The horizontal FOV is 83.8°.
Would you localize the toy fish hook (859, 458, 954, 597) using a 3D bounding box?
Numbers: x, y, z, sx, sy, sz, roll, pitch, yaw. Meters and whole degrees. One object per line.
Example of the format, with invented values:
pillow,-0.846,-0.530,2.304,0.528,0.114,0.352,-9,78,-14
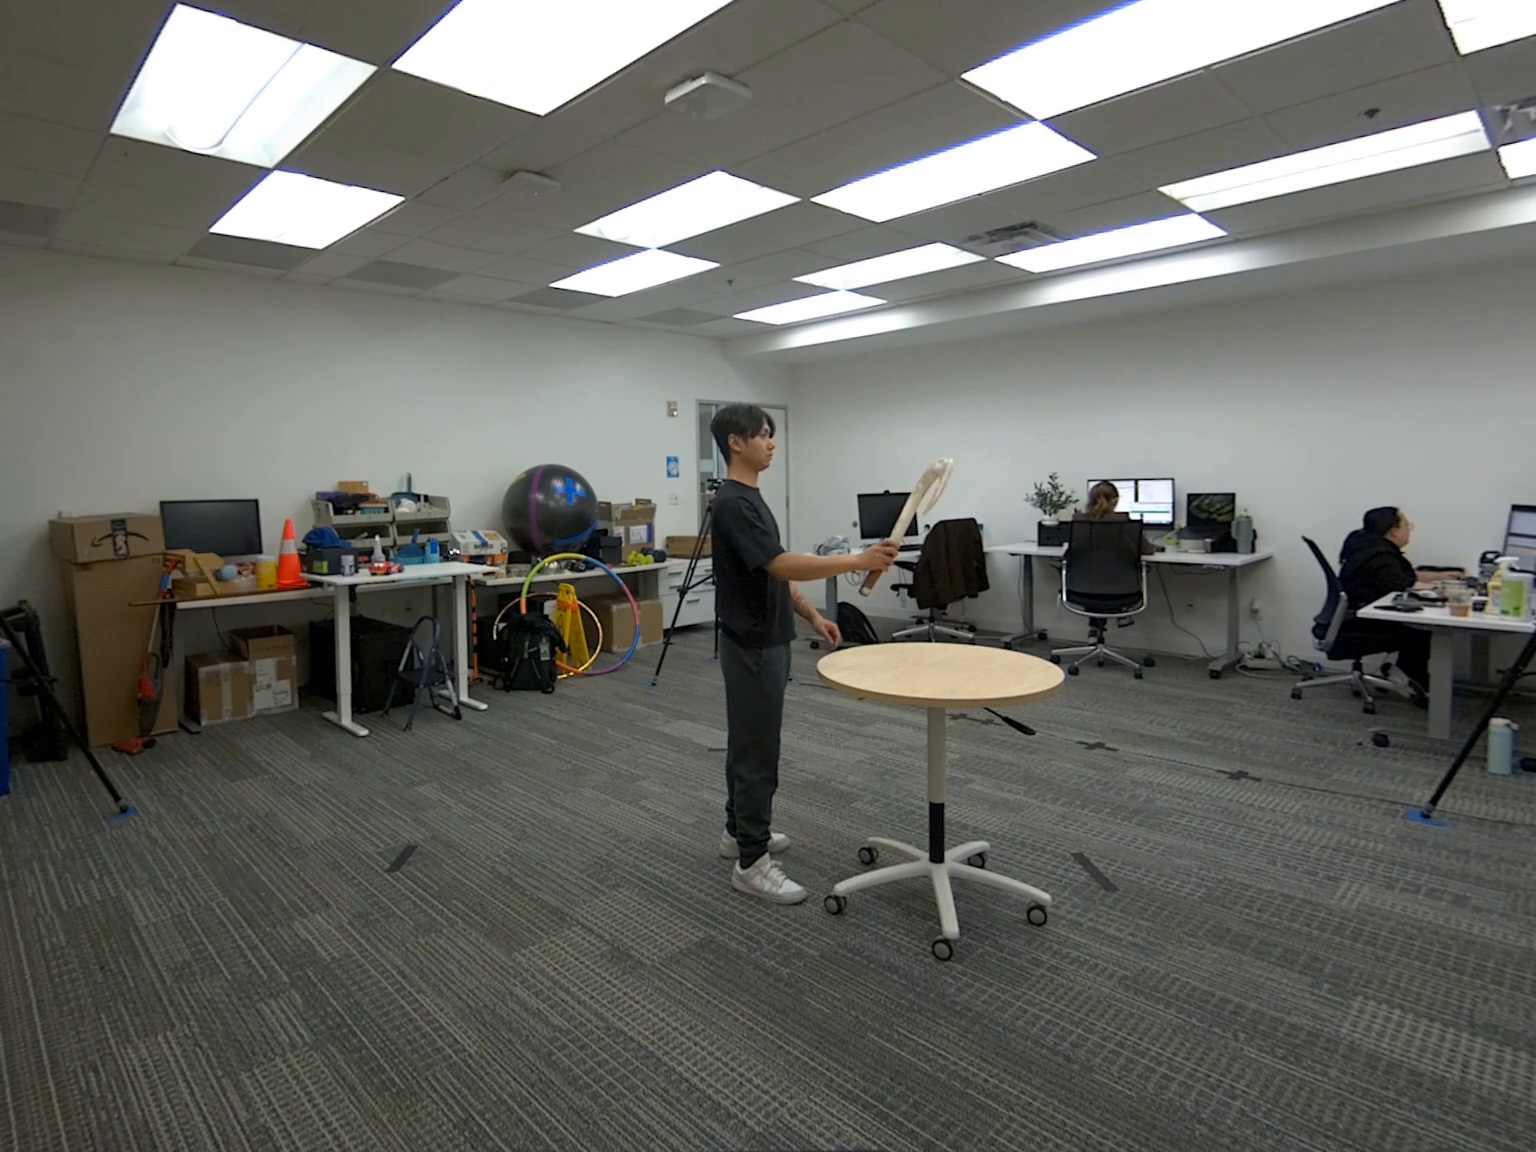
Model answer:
toy fish hook,0.441,-0.136,2.688,0.048,0.506,0.226,29,5,-7
